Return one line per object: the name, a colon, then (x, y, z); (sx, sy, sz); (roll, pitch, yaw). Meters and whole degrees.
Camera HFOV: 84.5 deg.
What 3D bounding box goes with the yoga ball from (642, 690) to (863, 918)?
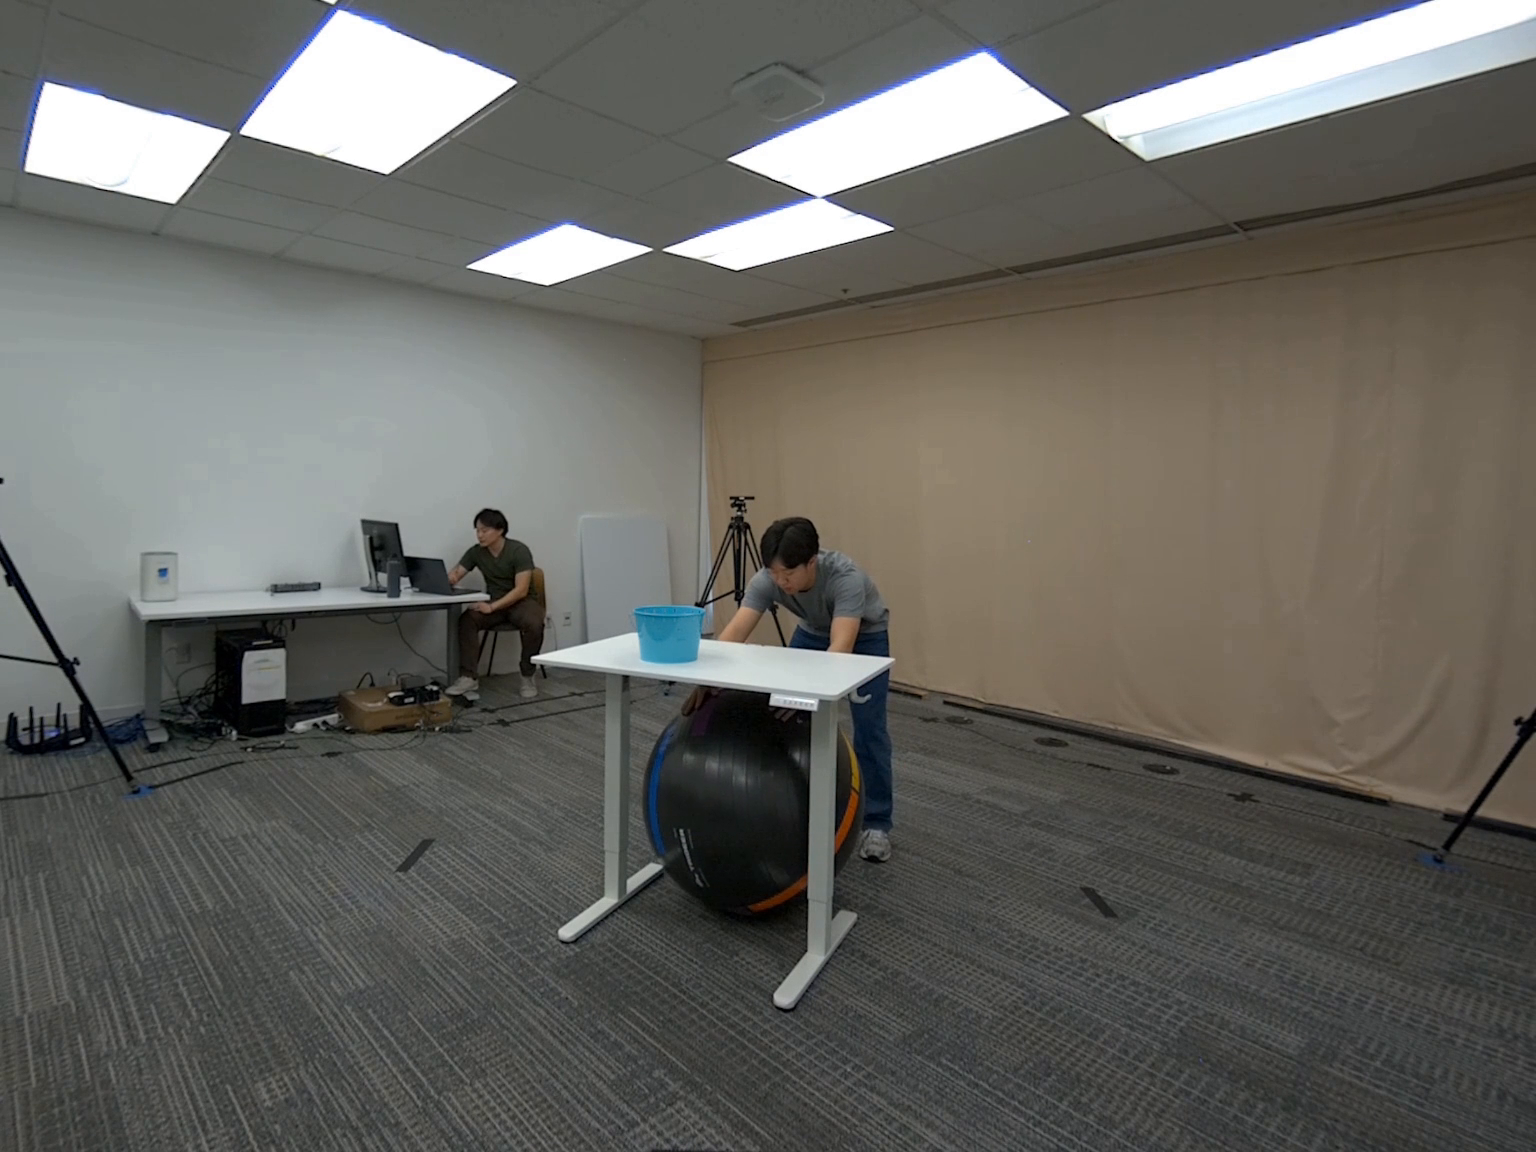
yoga ball: (-0.053, 0.759, 2.893); (0.757, 0.756, 0.761); (1, 4, -1)
